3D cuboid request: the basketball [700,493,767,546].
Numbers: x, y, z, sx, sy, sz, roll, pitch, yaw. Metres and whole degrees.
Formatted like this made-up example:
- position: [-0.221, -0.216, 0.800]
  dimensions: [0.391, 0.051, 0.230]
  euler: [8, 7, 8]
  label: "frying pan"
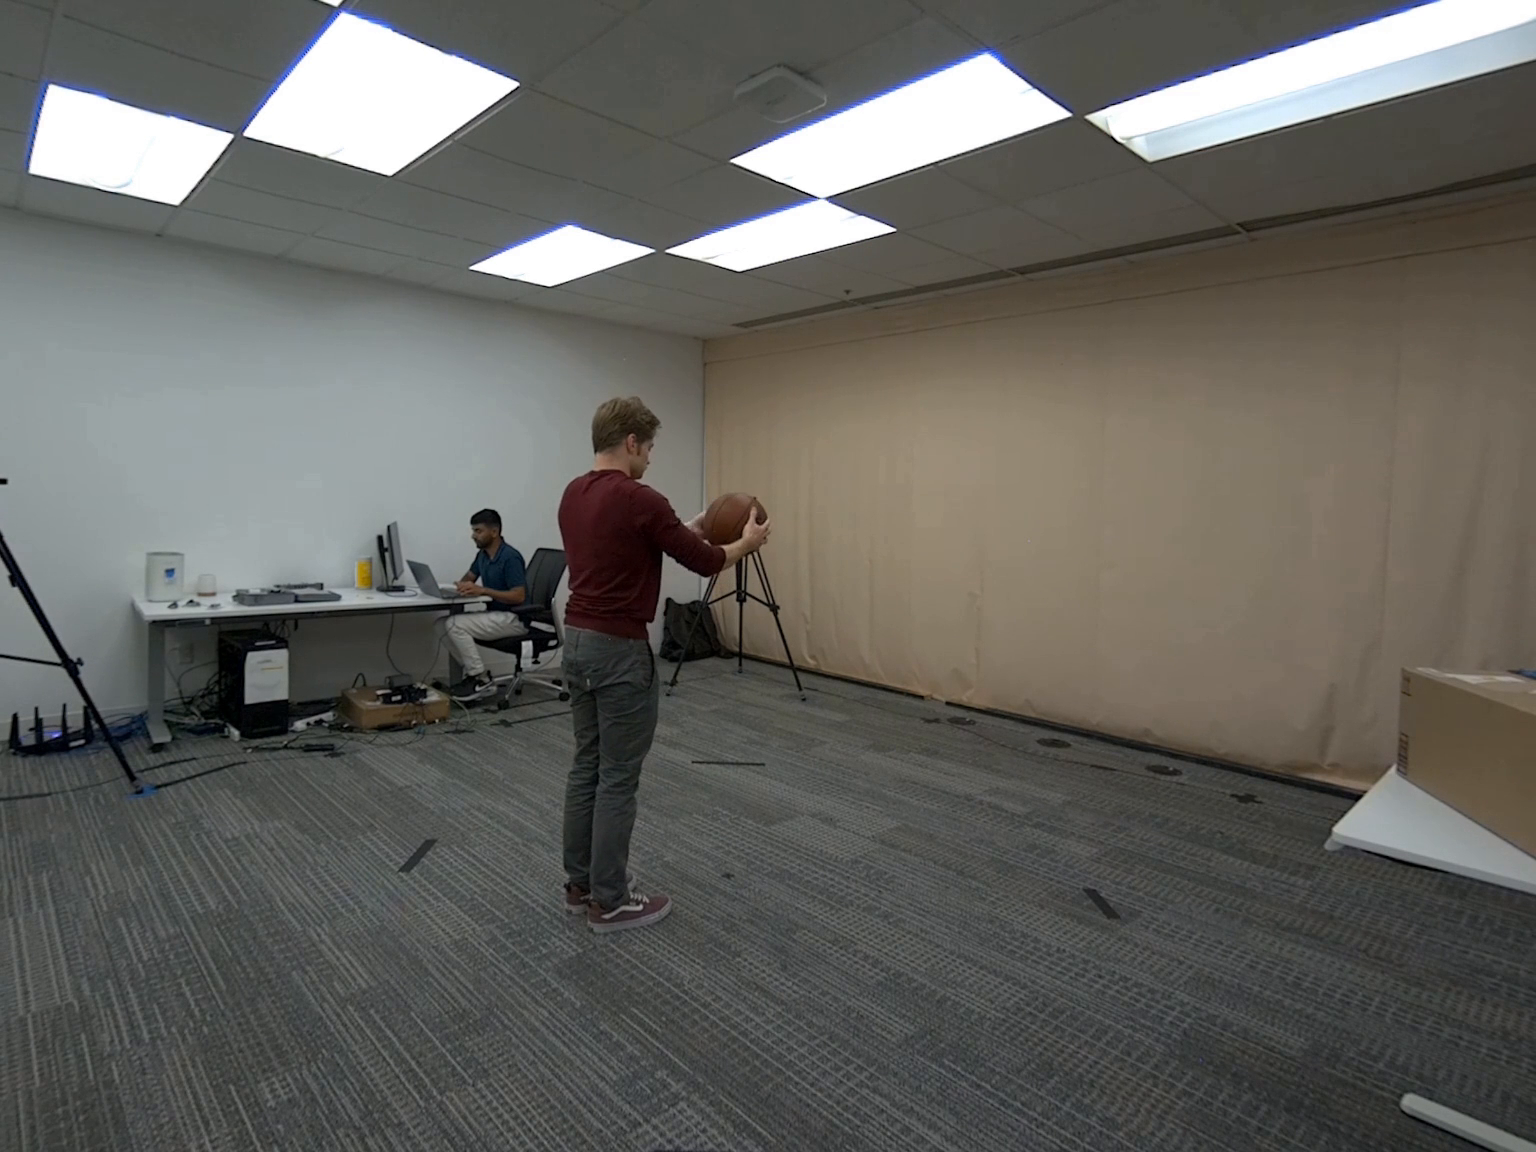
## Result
- position: [-0.123, -0.194, 3.086]
  dimensions: [0.236, 0.235, 0.237]
  euler: [1, 4, -1]
  label: "basketball"
